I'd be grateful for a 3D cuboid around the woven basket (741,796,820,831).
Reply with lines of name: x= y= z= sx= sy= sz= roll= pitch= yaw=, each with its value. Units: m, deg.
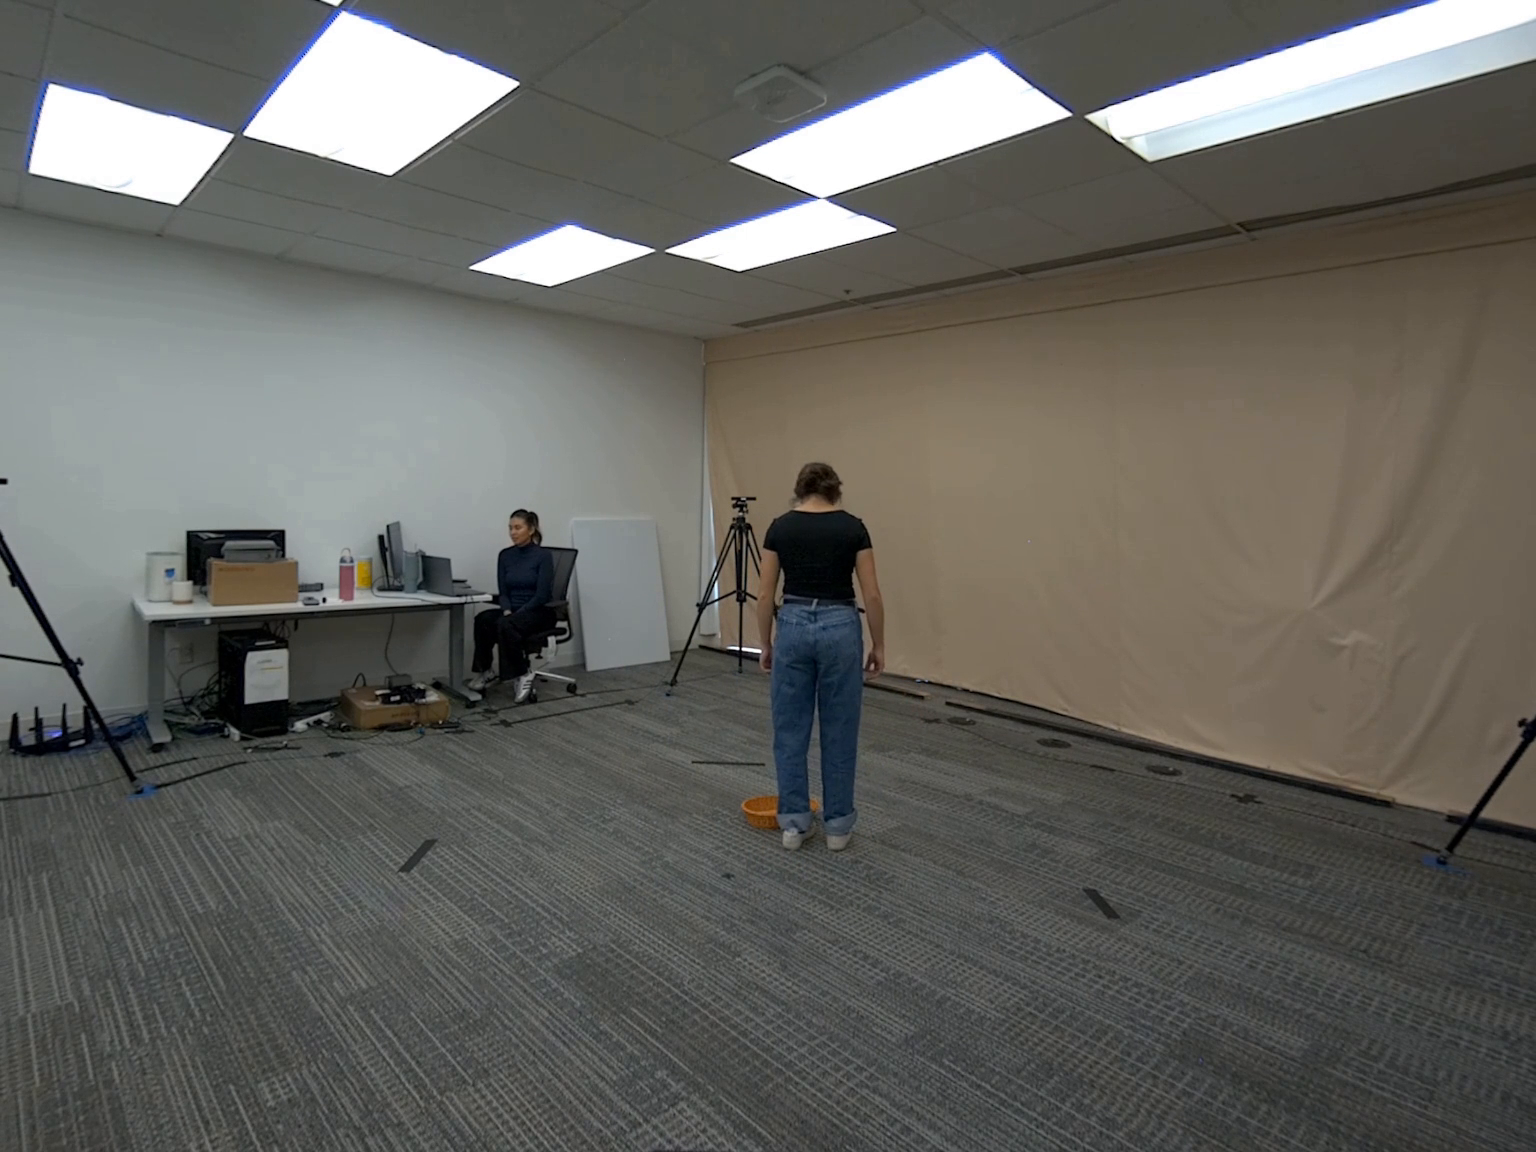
woven basket: x=0.043 y=1.023 z=3.663 sx=0.345 sy=0.073 sz=0.256 roll=0 pitch=4 yaw=-20
